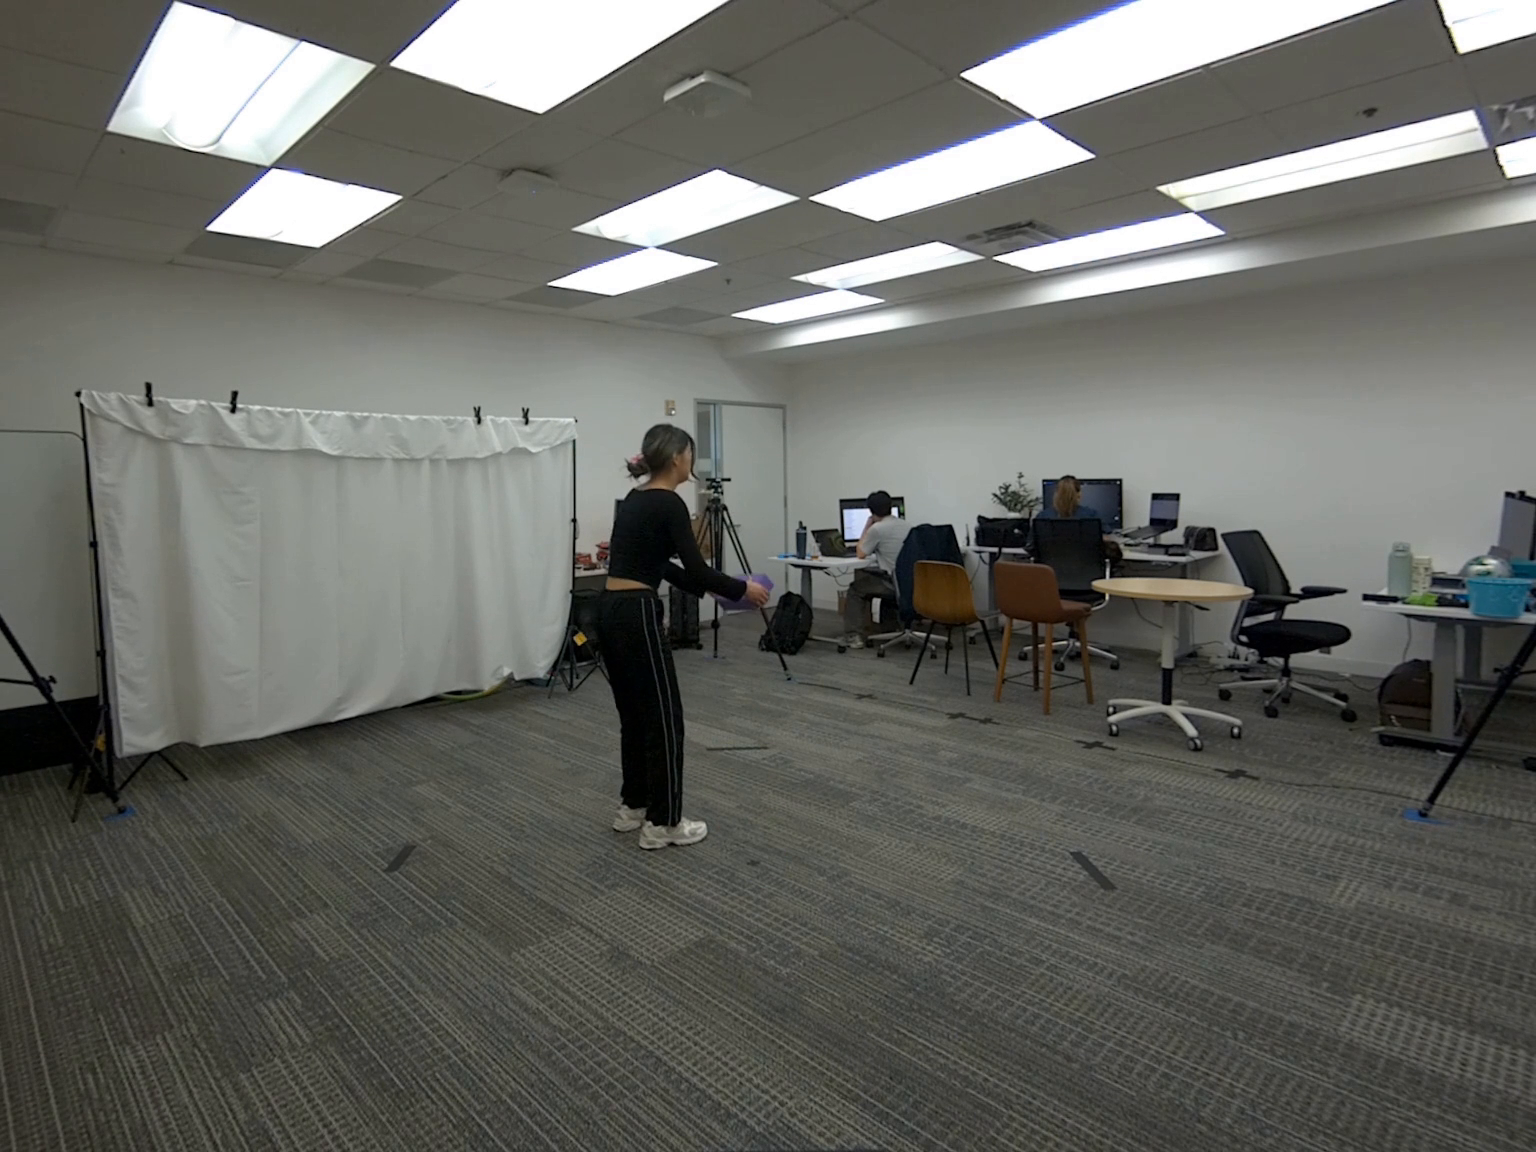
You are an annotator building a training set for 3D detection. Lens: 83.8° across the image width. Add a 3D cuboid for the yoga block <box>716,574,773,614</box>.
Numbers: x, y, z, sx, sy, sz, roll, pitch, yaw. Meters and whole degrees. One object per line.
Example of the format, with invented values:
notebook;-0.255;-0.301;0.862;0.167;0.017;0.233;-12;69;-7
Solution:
yoga block;-0.104;0.064;3.503;0.149;0.074;0.234;-50;23;-25
